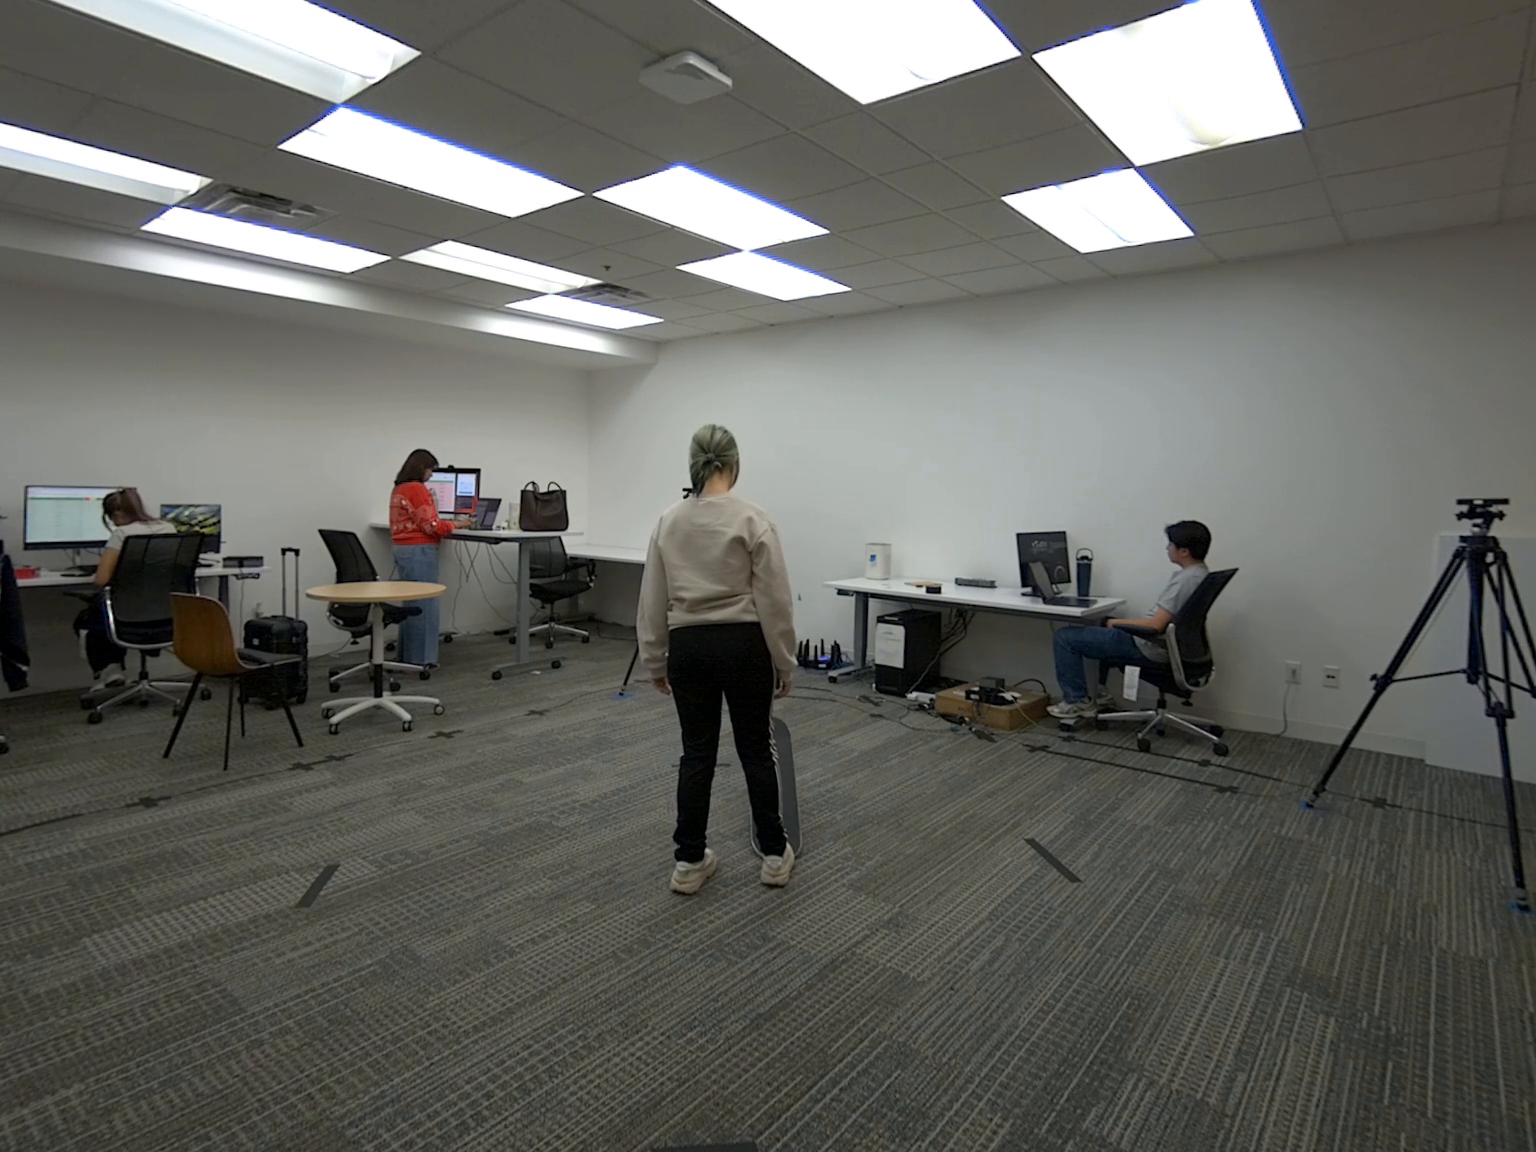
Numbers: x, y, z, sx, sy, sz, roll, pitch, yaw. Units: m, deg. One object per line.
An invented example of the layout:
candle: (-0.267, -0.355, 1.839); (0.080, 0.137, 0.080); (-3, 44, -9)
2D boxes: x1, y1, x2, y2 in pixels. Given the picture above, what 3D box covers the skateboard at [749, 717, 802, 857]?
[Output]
skateboard: (0.018, 0.892, 3.531); (0.193, 0.107, 0.806); (0, 33, -3)
